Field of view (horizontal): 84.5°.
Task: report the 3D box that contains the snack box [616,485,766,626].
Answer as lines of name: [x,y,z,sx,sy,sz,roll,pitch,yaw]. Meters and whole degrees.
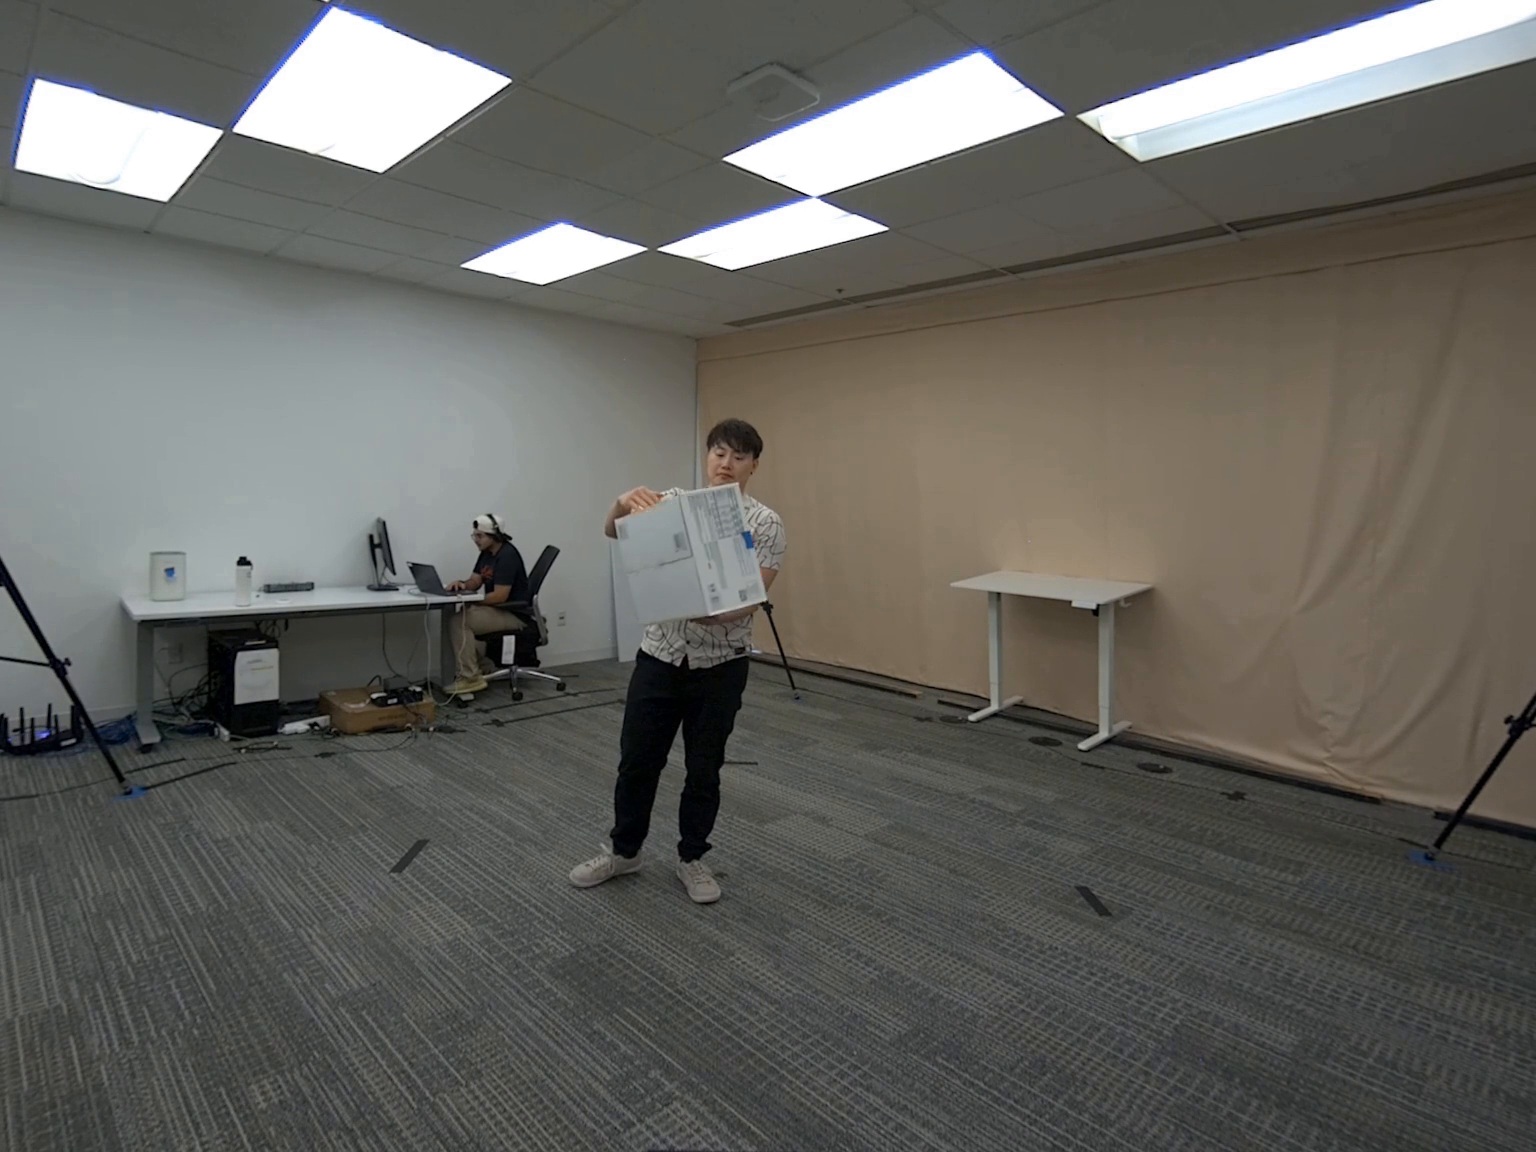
snack box: [-0.246,-0.050,2.445,0.202,0.341,0.411,-13,-1,-35]
